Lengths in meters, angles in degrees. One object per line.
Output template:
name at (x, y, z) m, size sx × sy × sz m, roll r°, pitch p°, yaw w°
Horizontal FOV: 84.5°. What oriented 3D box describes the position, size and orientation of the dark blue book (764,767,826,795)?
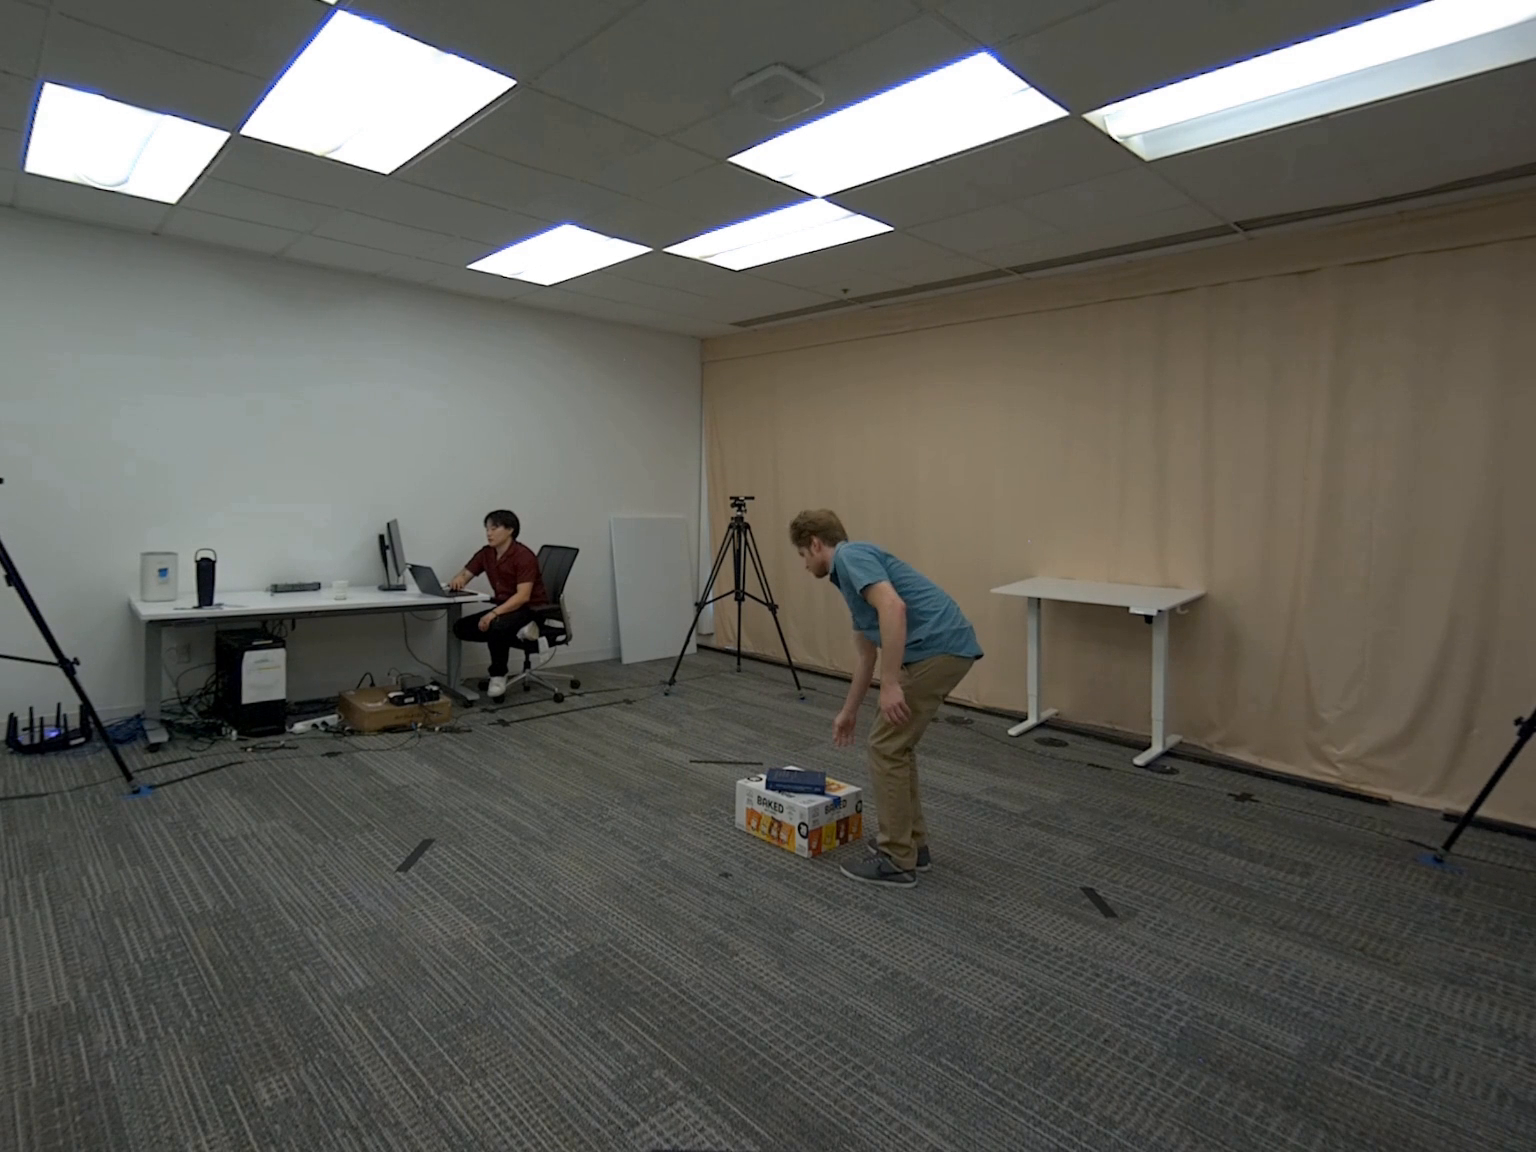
dark blue book at (0.107, 0.858, 3.526) m, size 0.247 × 0.045 × 0.163 m, roll 3°, pitch 6°, yaw 7°
